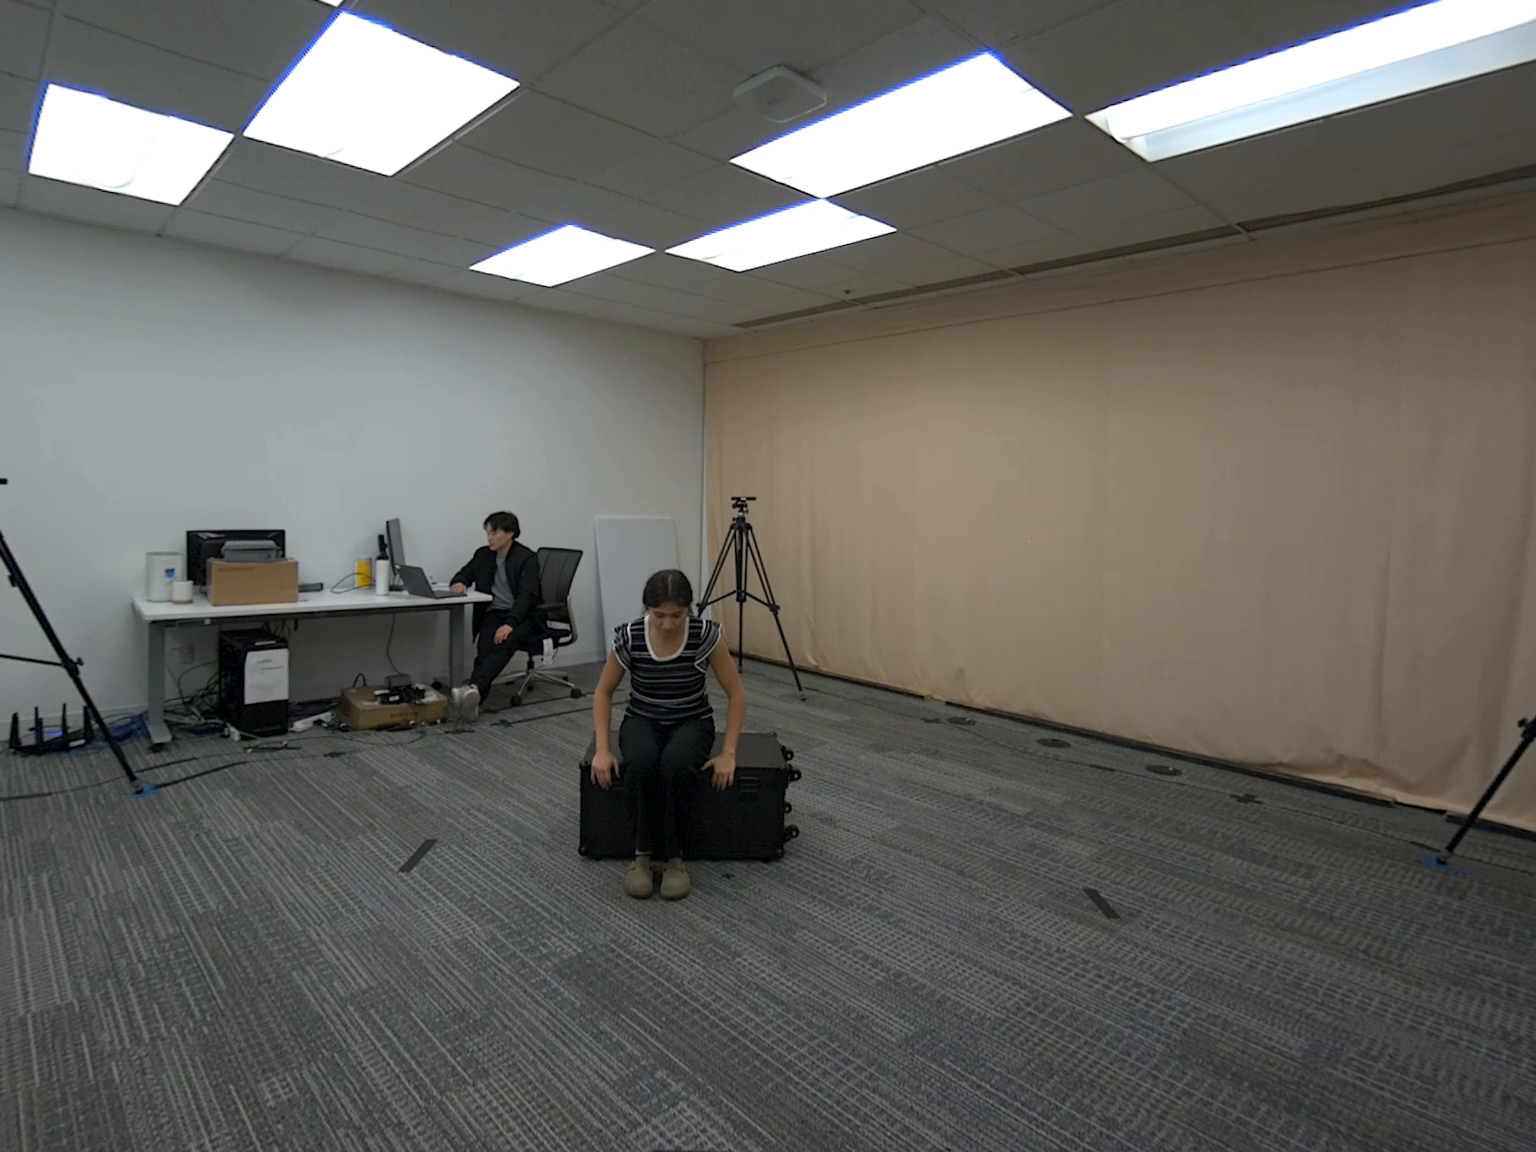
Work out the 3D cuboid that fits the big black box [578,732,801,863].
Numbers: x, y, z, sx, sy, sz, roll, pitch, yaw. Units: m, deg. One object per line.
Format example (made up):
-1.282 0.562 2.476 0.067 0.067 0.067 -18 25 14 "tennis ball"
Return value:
-0.314 0.880 3.434 0.859 0.395 0.524 1 5 -4 "big black box"
